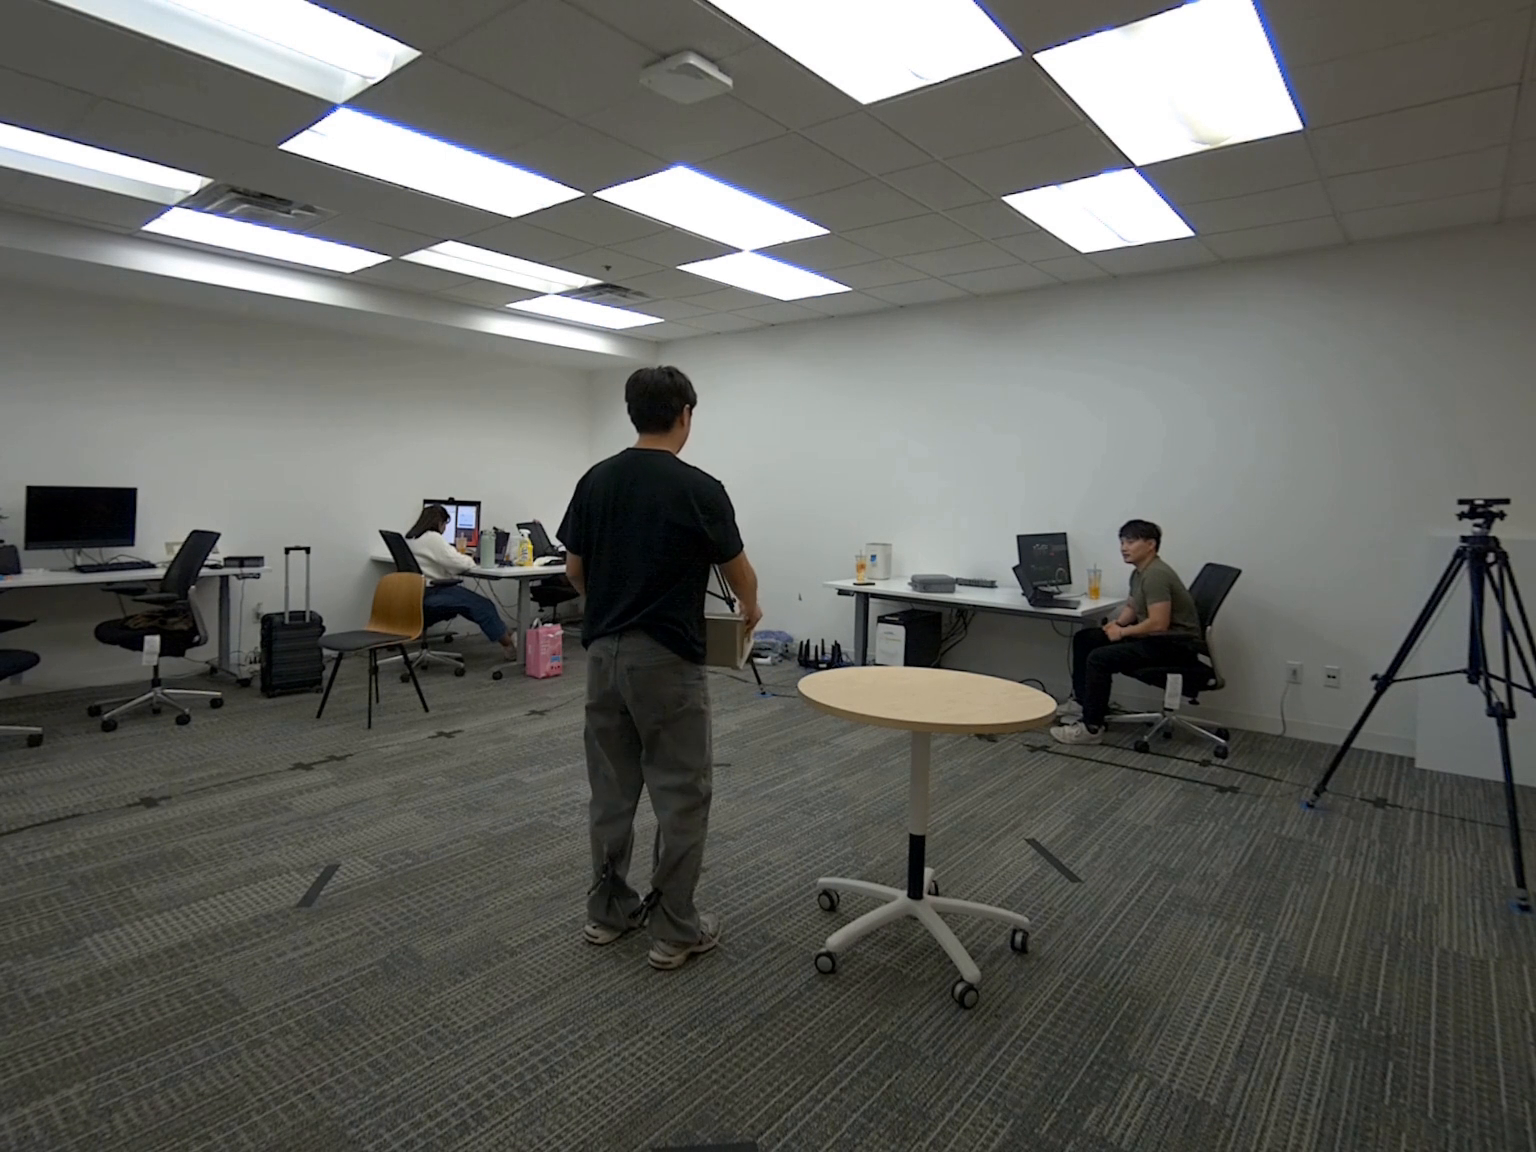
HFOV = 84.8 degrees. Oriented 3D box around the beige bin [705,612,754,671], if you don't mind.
[{"bbox_3d":[-0.265,0.173,2.972,0.426,0.186,0.379,2,15,8],"label":"beige bin"}]
